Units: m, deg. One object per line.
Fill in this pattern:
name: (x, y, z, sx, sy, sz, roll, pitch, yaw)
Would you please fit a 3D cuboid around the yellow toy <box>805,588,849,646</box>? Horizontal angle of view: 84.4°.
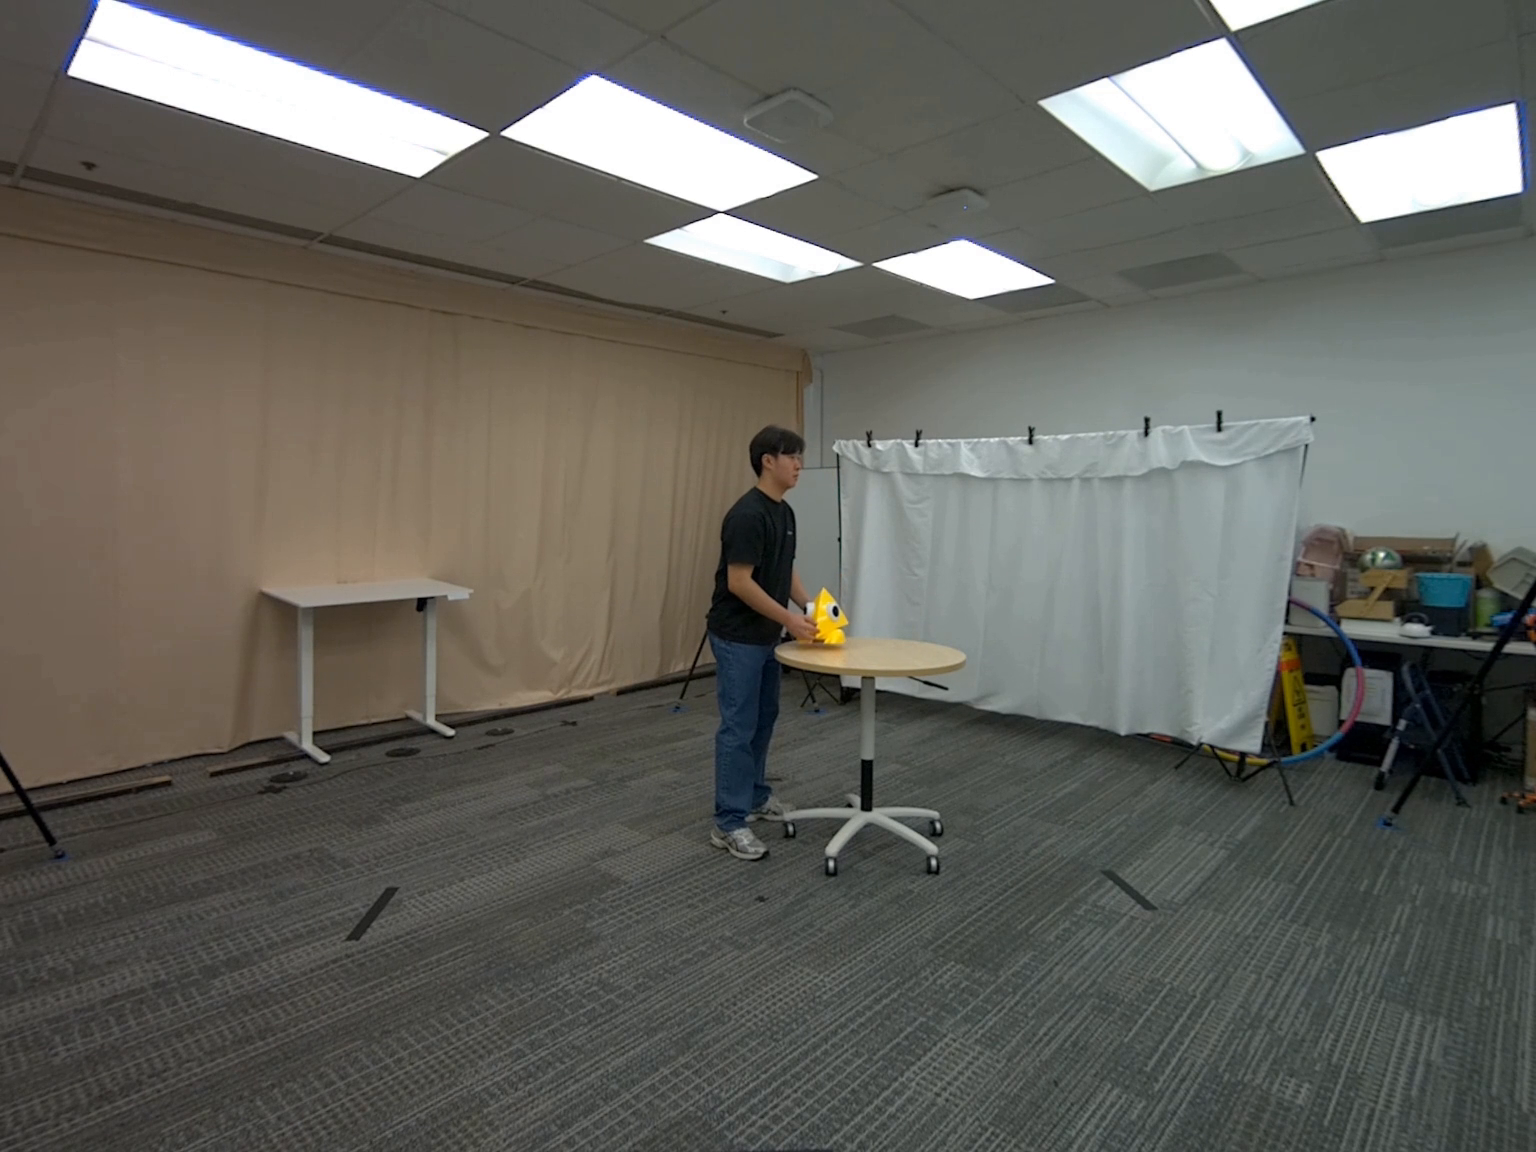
yellow toy: (0.226, 0.163, 3.537, 0.208, 0.231, 0.189, -1, -3, 17)
